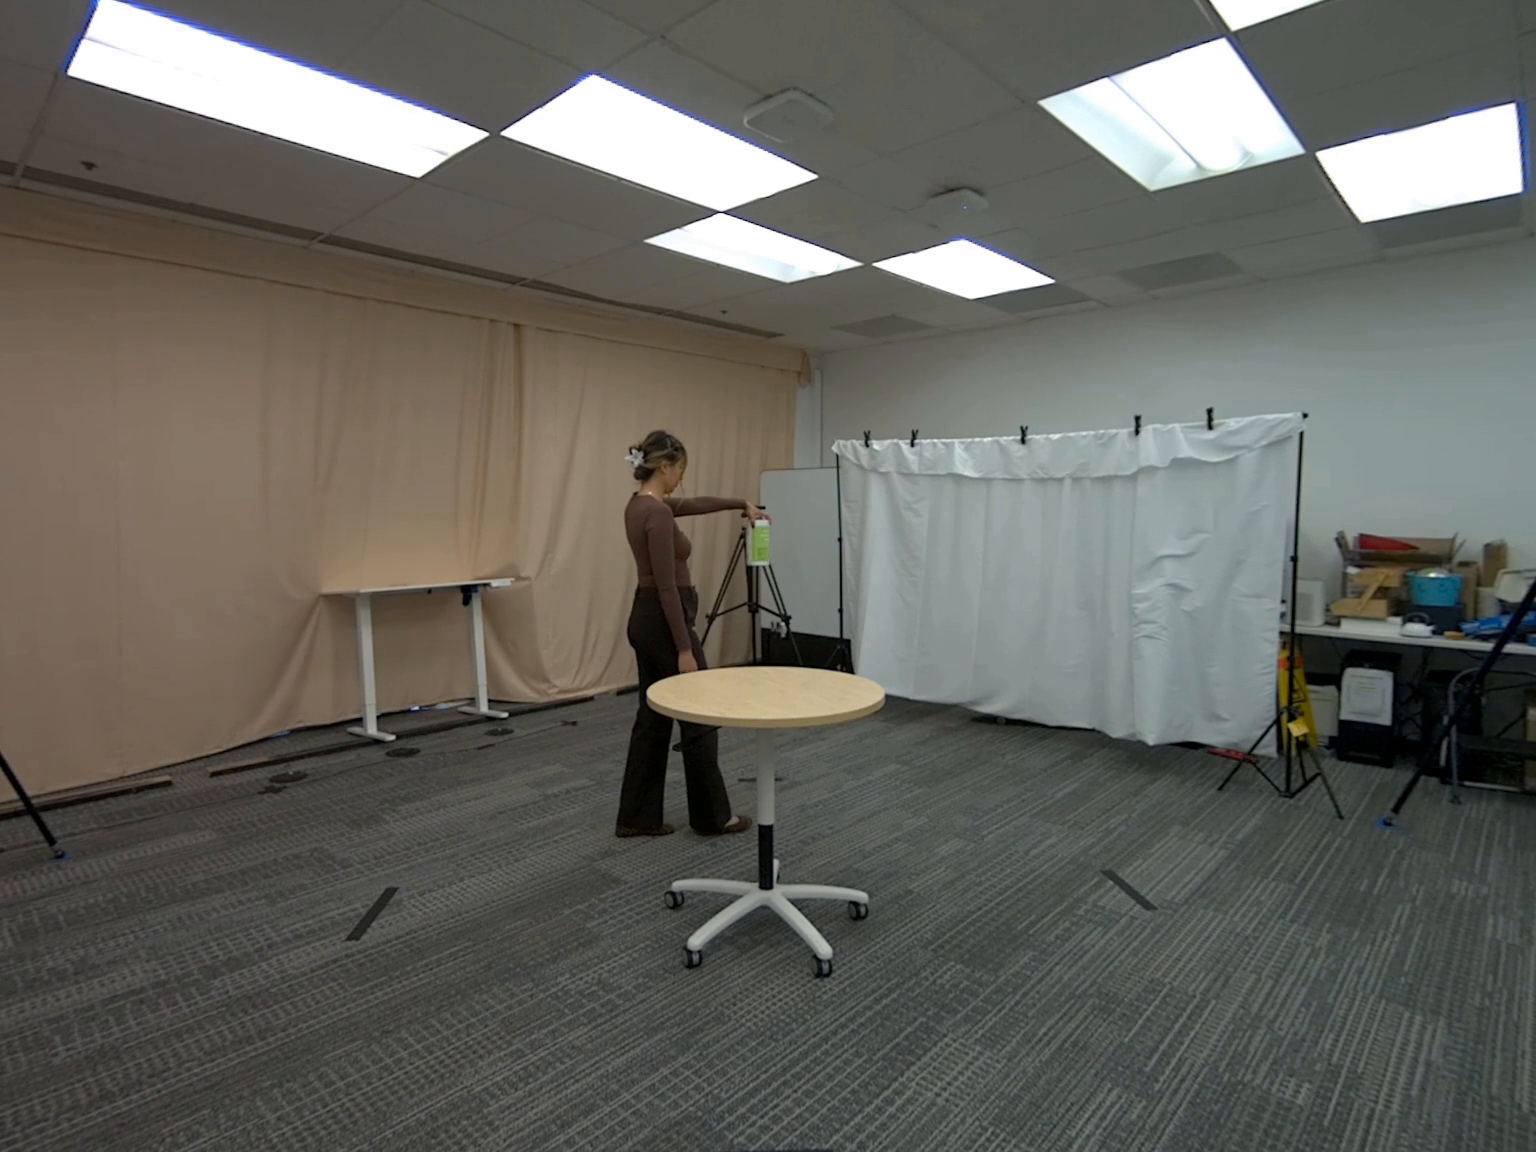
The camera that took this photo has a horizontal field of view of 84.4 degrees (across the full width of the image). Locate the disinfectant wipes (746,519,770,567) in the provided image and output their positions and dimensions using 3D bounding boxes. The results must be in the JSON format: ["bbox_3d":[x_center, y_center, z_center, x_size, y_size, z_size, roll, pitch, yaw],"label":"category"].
[{"bbox_3d":[-0.040,-0.157,3.973,0.118,0.217,0.118,1,3,-2],"label":"disinfectant wipes"}]
